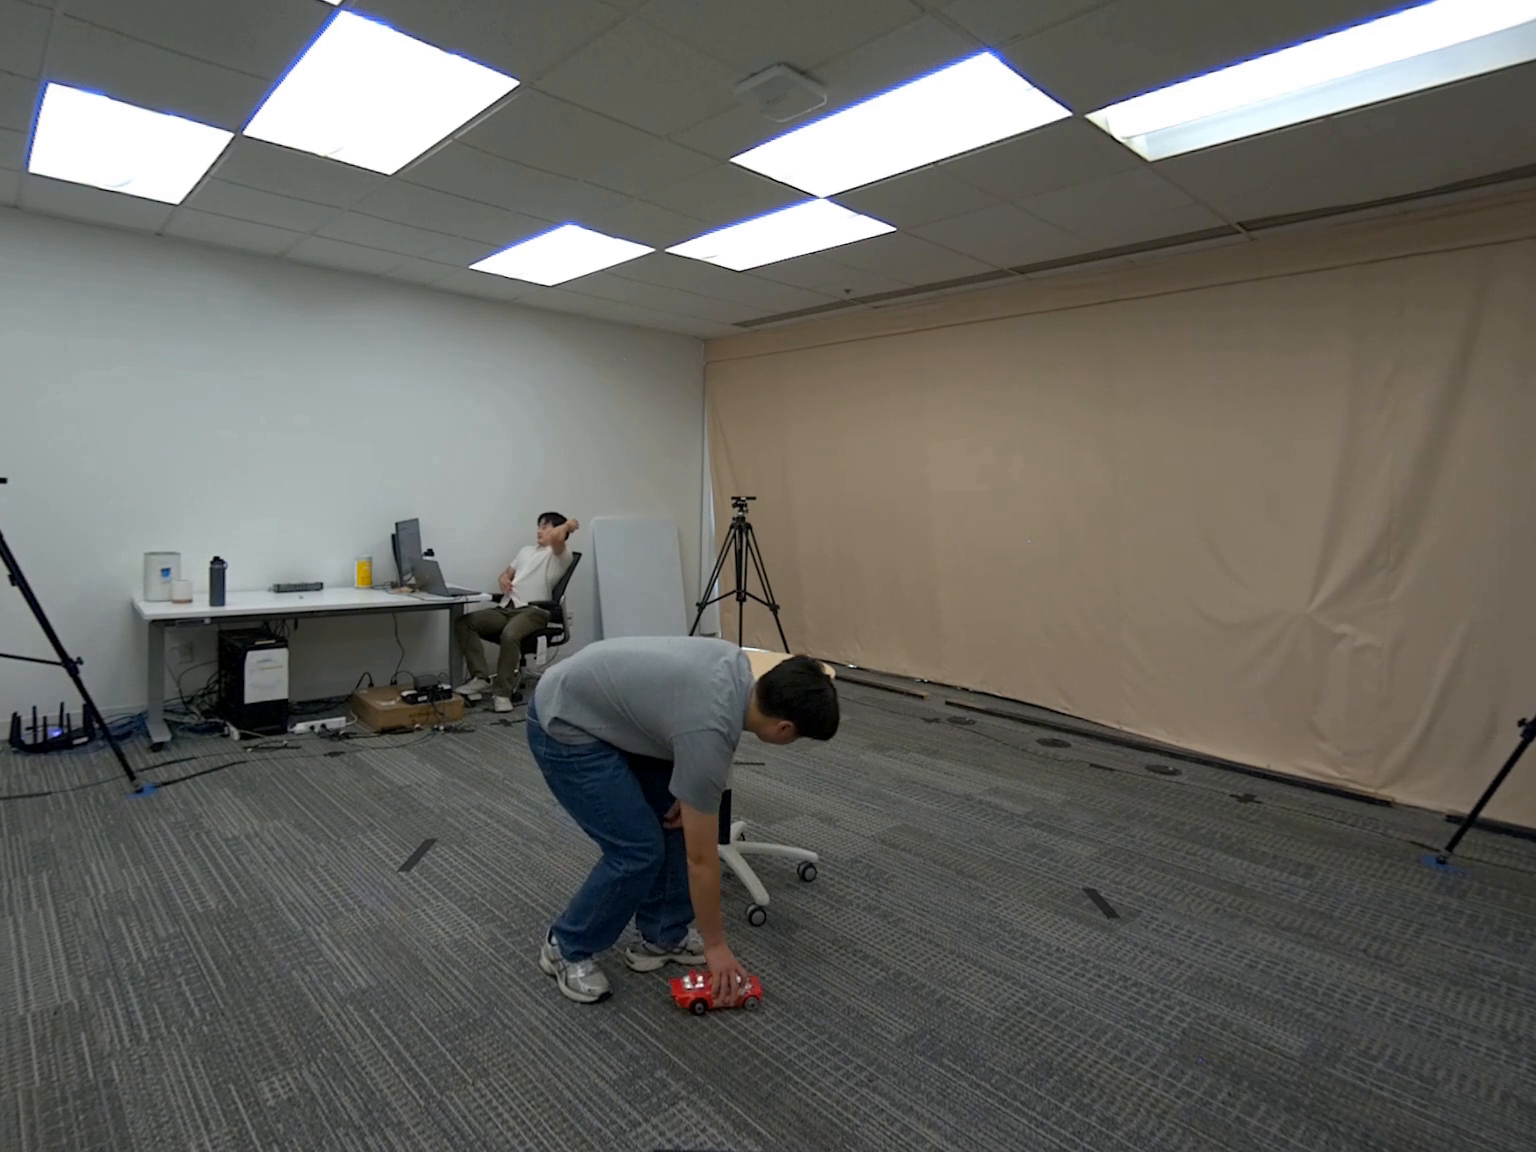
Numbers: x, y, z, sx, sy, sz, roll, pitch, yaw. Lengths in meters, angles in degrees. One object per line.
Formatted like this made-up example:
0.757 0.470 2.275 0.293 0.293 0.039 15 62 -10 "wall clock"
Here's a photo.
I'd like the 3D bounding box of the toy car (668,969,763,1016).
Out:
-0.157 1.147 2.316 0.252 0.083 0.132 13 1 -12 "toy car"
